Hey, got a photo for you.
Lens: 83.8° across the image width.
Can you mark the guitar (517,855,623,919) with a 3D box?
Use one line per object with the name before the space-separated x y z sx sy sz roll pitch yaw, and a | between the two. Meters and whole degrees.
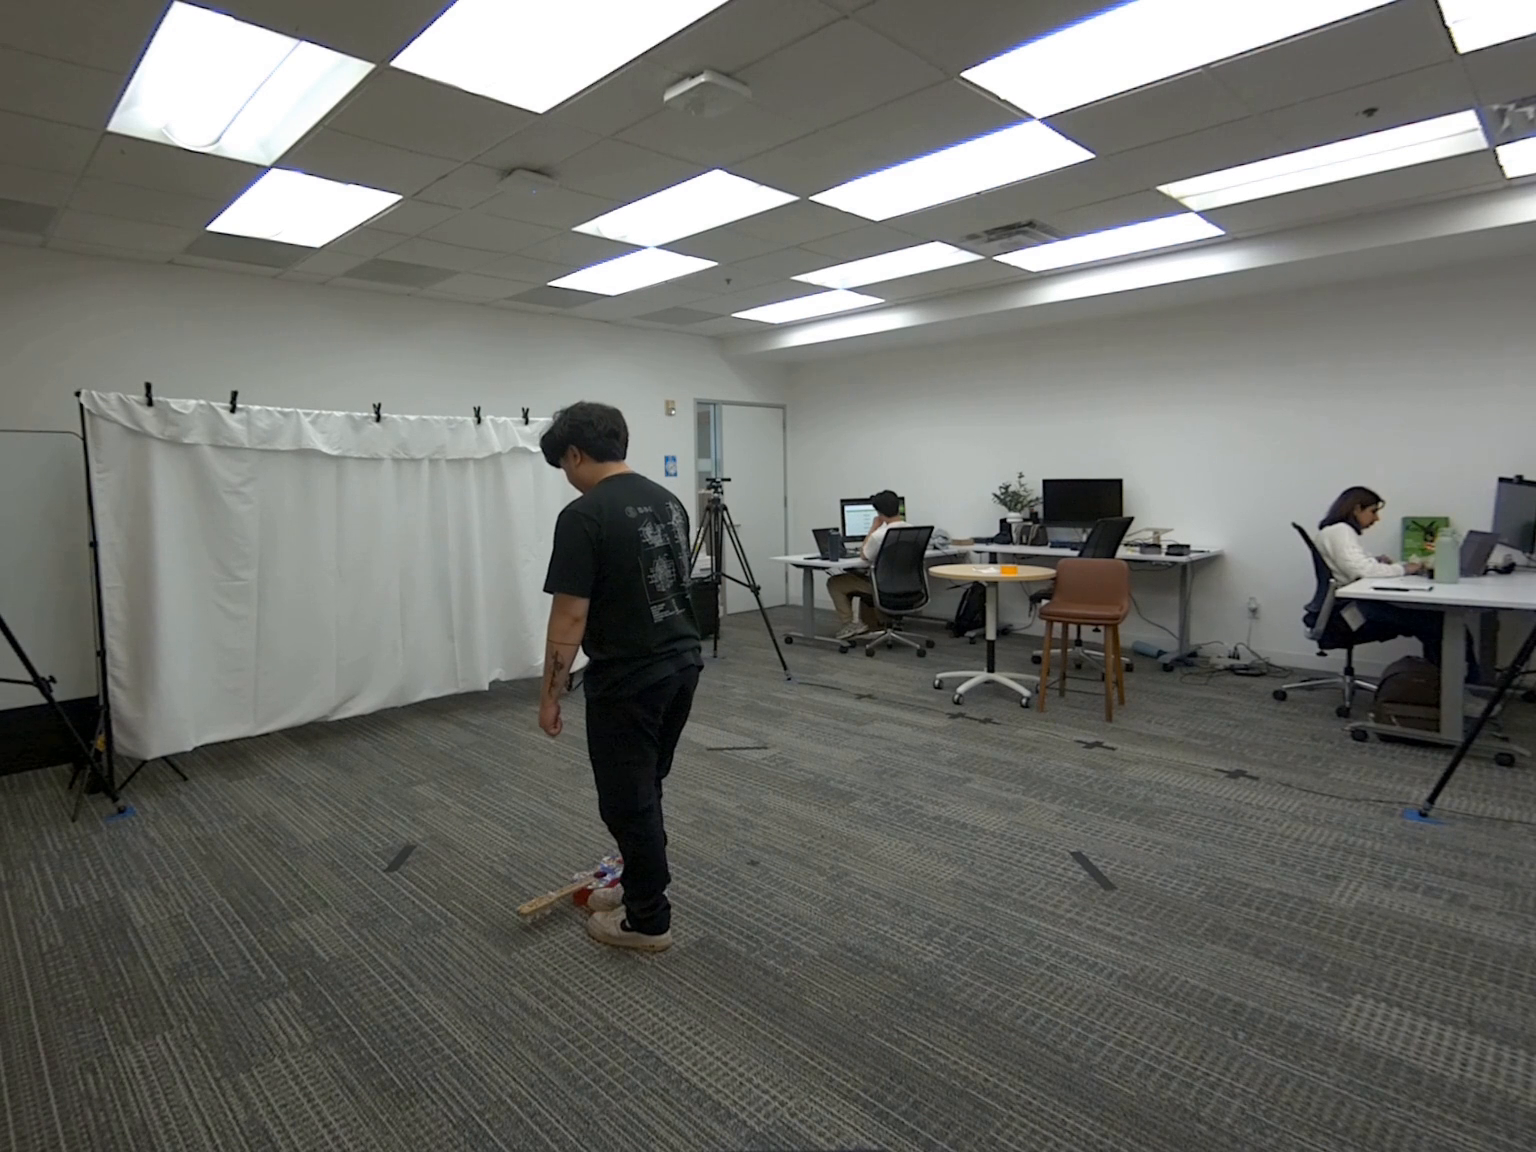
guitar | -0.637 1.046 2.876 0.485 0.070 0.199 -7 8 -40
